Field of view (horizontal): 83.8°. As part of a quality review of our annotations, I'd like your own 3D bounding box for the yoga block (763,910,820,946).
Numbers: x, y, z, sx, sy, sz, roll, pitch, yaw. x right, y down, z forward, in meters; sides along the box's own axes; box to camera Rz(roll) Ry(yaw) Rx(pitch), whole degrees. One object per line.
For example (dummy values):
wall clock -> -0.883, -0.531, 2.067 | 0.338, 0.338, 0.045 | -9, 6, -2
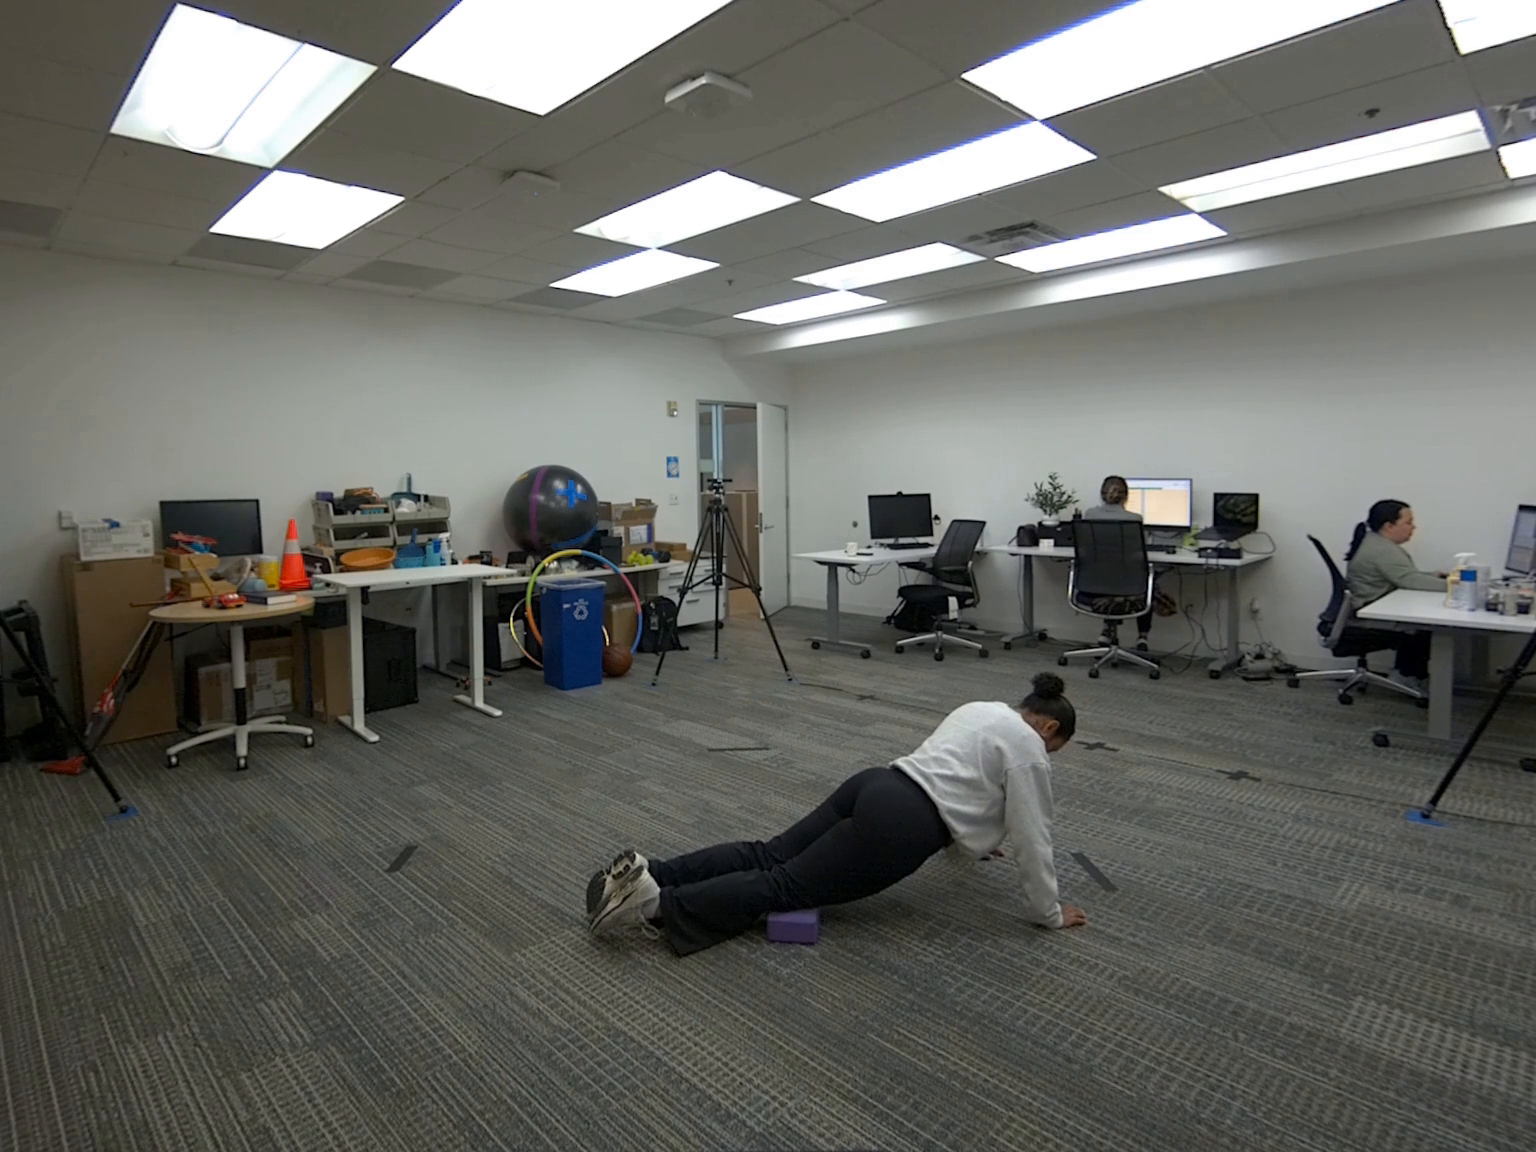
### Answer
yoga block -> 0.077, 1.043, 2.678 | 0.150, 0.076, 0.229 | -2, 10, 9
